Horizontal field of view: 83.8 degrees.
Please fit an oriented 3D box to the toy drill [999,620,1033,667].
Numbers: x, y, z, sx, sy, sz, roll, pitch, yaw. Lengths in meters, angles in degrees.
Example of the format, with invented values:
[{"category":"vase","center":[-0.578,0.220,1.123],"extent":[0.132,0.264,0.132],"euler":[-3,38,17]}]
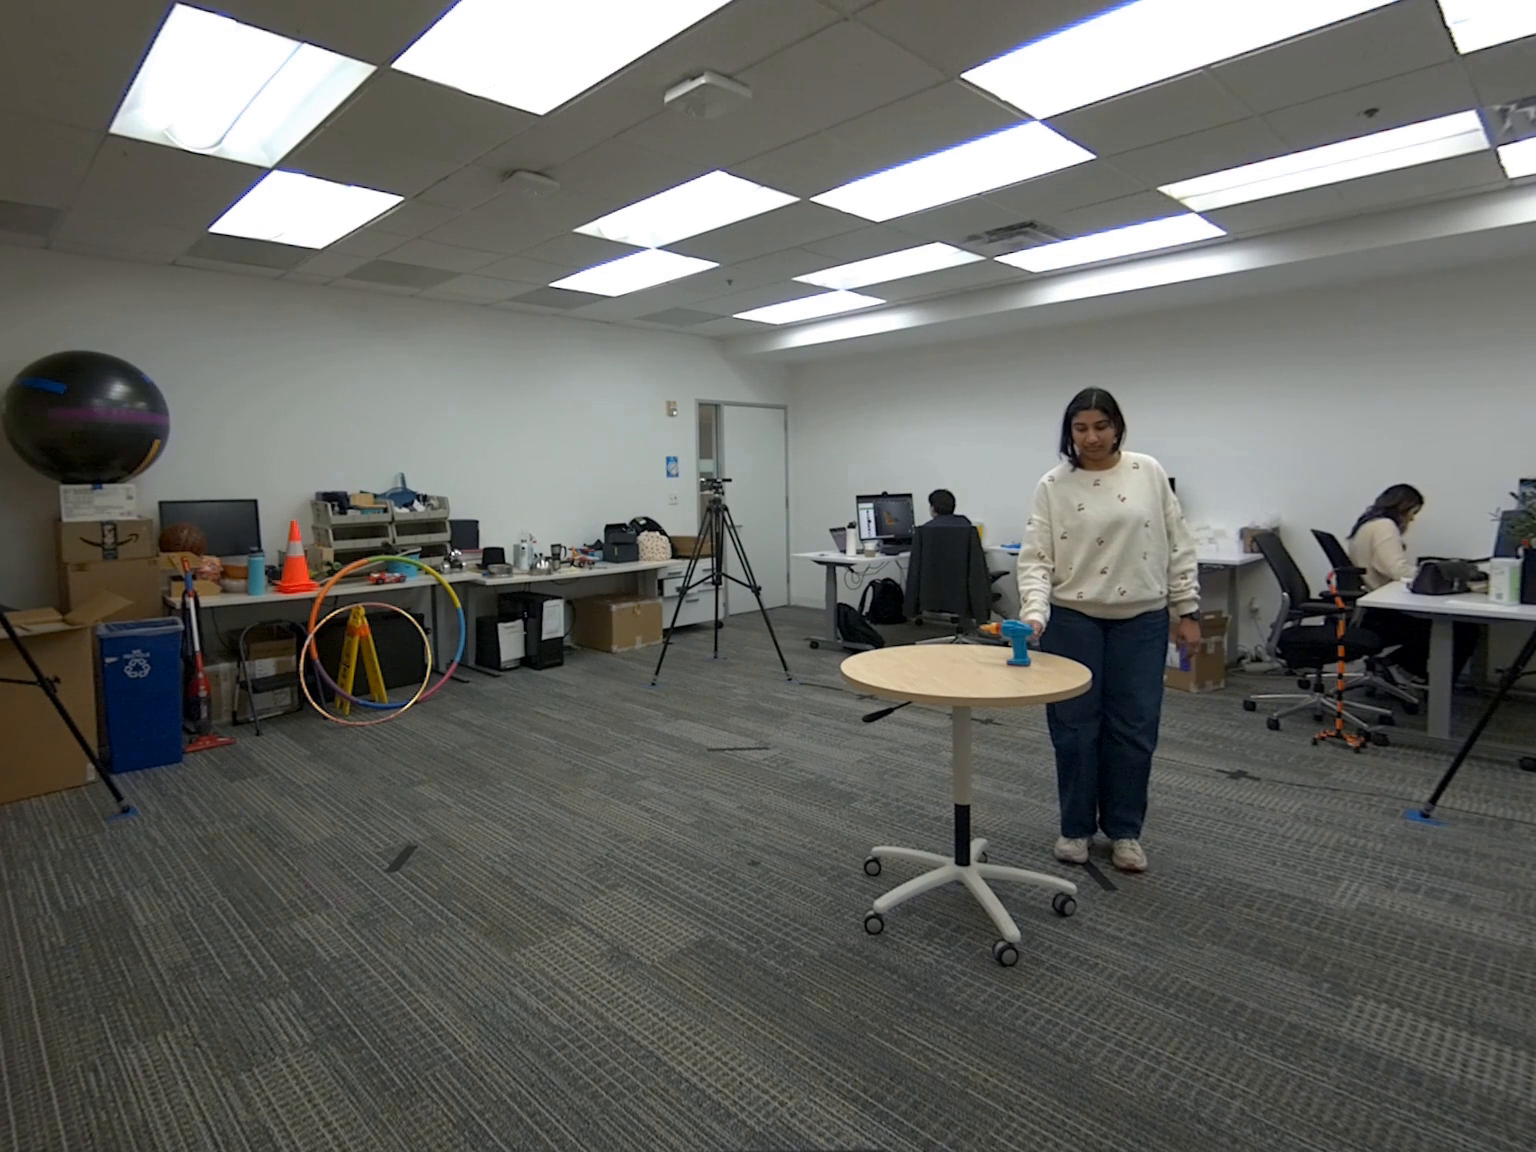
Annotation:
[{"category":"toy drill","center":[0.780,0.211,2.751],"extent":[0.174,0.145,0.060],"euler":[3,9,32]}]
